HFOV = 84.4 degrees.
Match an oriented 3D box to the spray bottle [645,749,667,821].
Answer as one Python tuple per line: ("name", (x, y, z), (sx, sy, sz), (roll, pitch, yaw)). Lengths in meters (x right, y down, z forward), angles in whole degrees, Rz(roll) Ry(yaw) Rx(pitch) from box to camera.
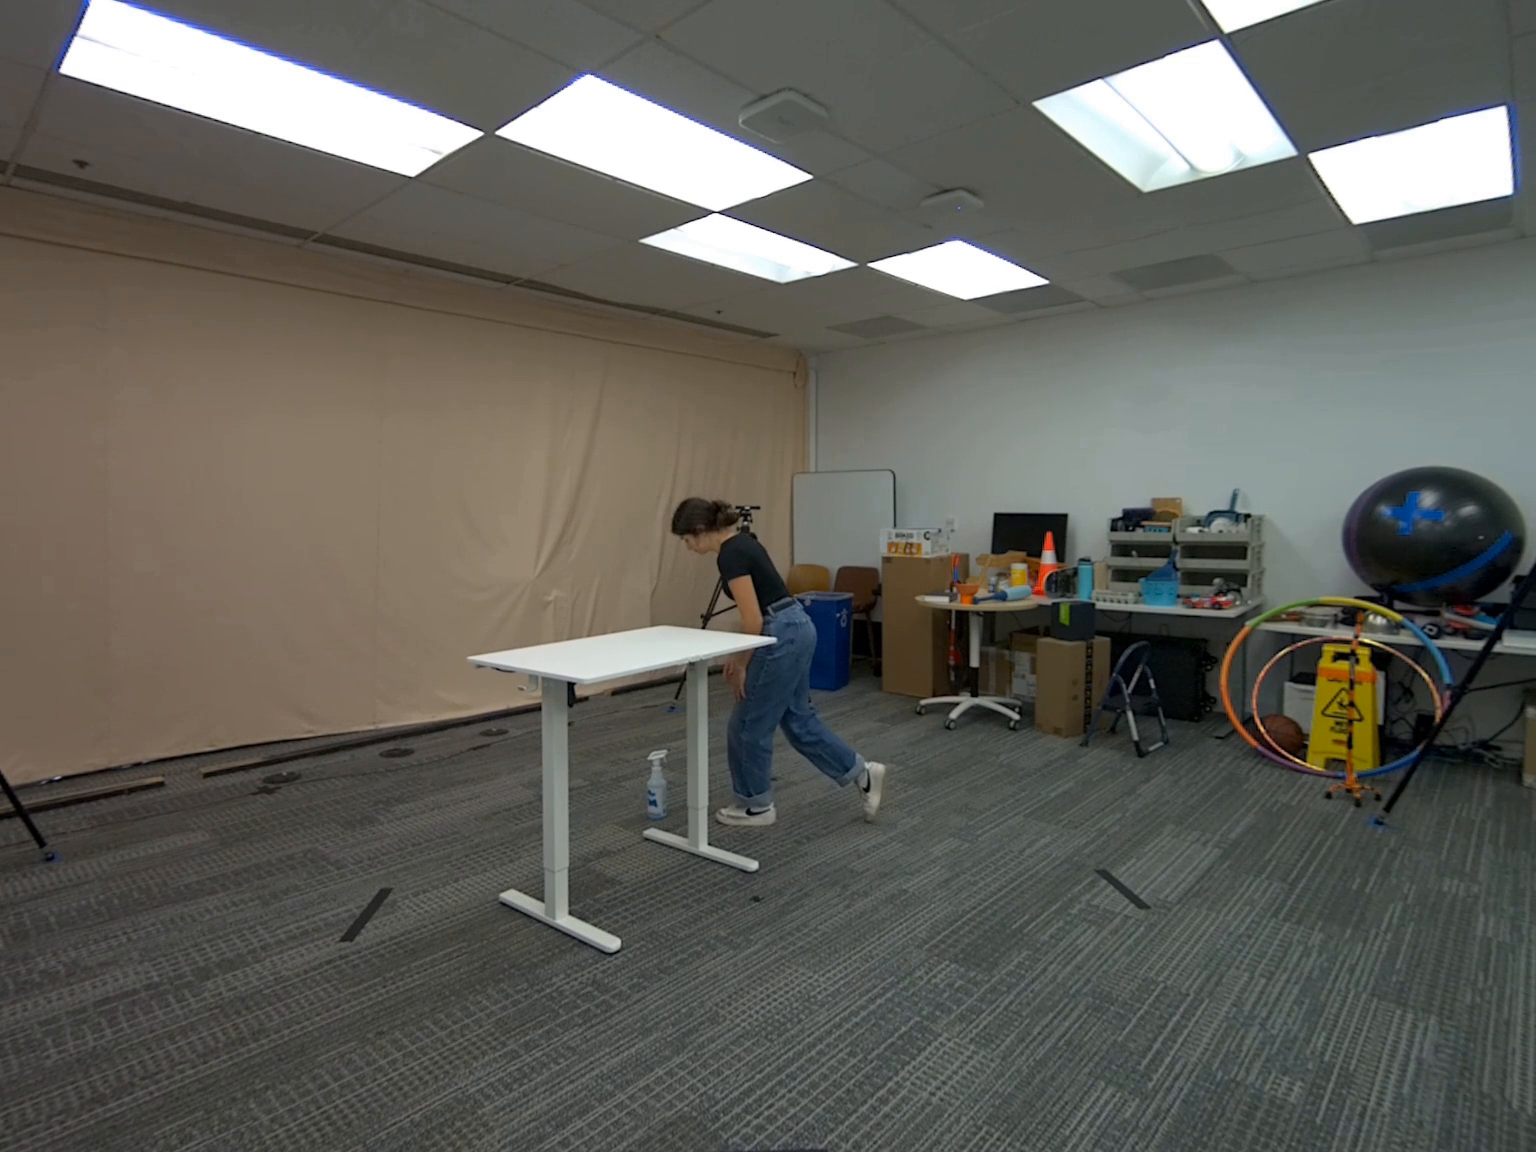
("spray bottle", (-0.498, 0.940, 3.785), (0.090, 0.297, 0.087), (1, 3, 4))
